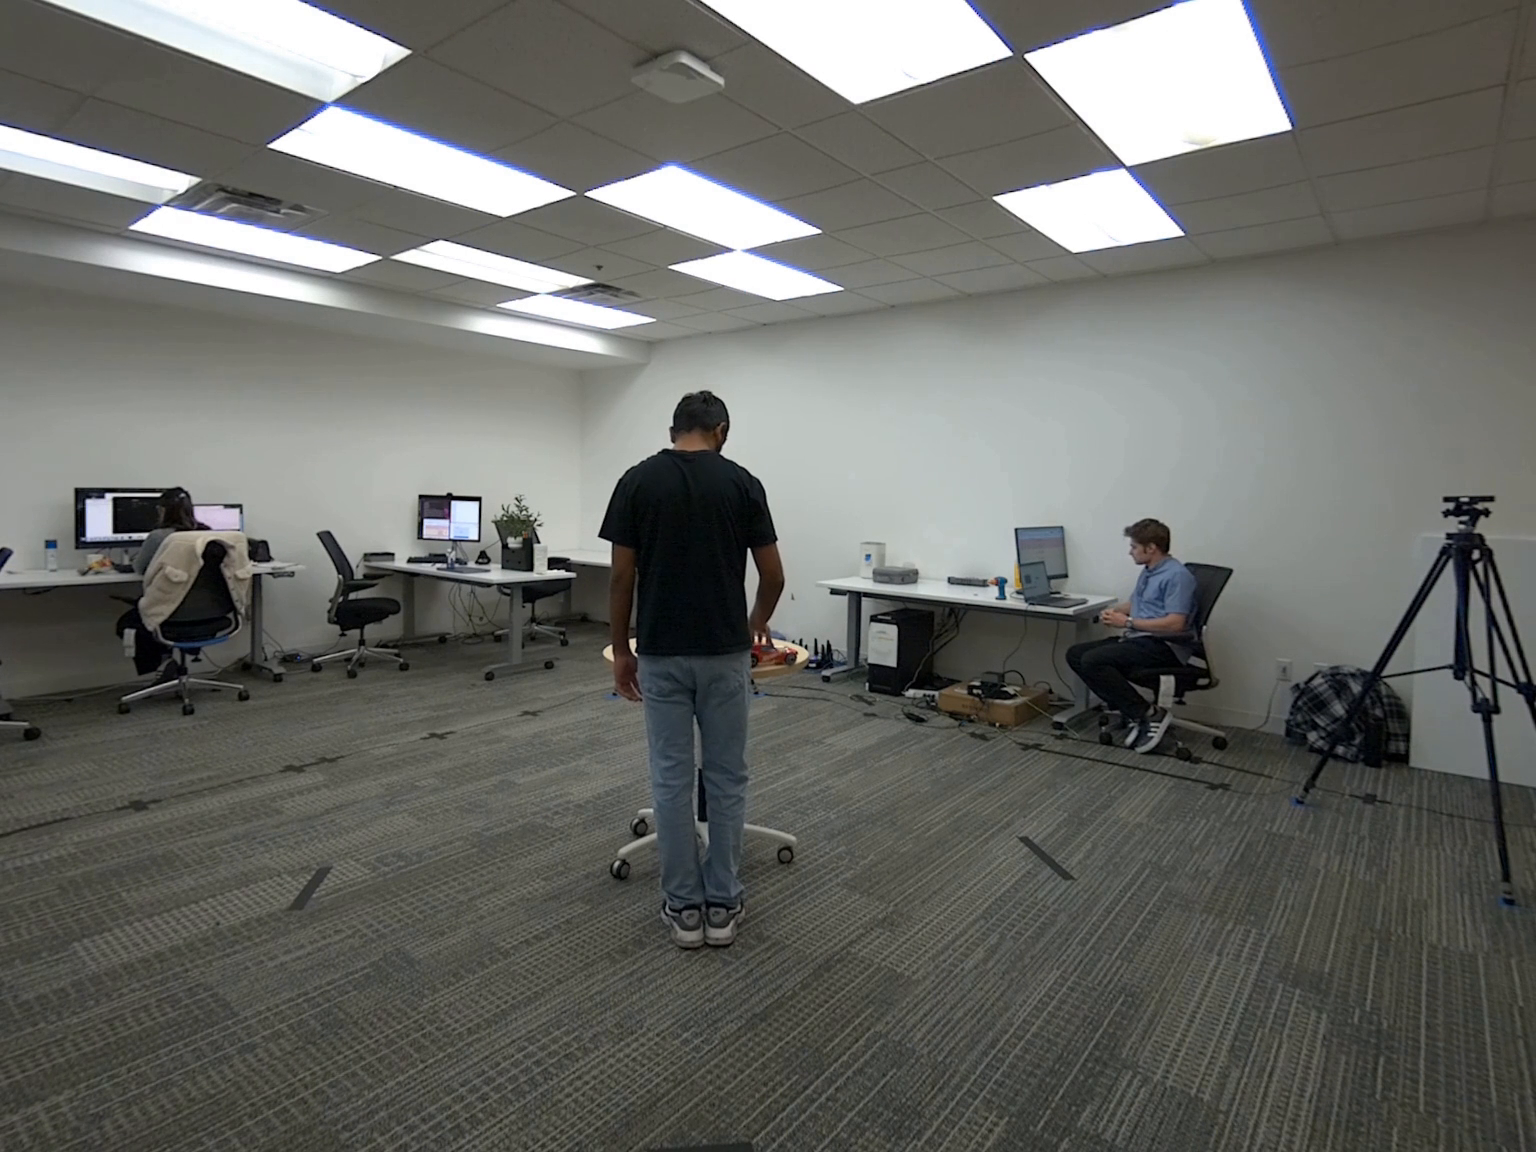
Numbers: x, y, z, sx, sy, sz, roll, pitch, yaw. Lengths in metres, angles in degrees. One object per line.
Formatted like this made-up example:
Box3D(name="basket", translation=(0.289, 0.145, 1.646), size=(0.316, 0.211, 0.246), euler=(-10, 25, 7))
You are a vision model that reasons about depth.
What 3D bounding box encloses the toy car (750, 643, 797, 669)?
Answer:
Box3D(name="toy car", translation=(-0.036, 0.272, 2.955), size=(0.249, 0.083, 0.133), euler=(10, 1, -19))
